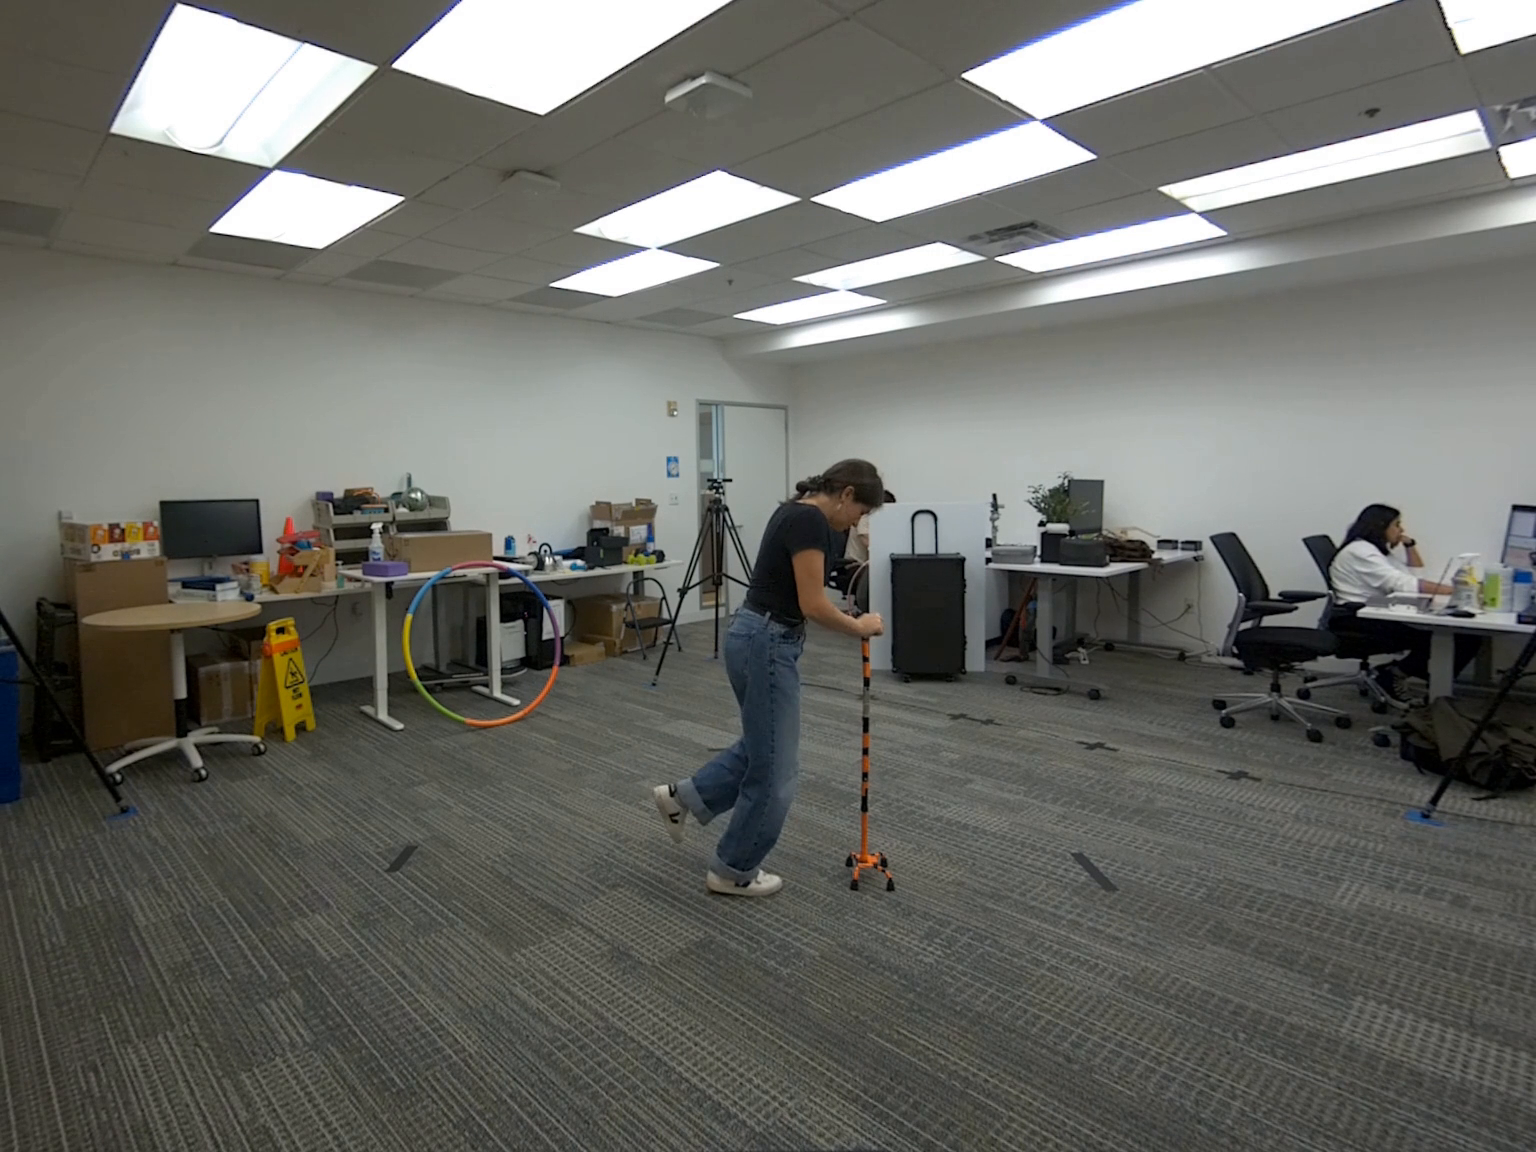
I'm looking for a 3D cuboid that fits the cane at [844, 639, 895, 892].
[{"bbox_3d":[0.352,0.595,2.952,0.152,0.905,0.207,0,4,1],"label":"cane"}]
